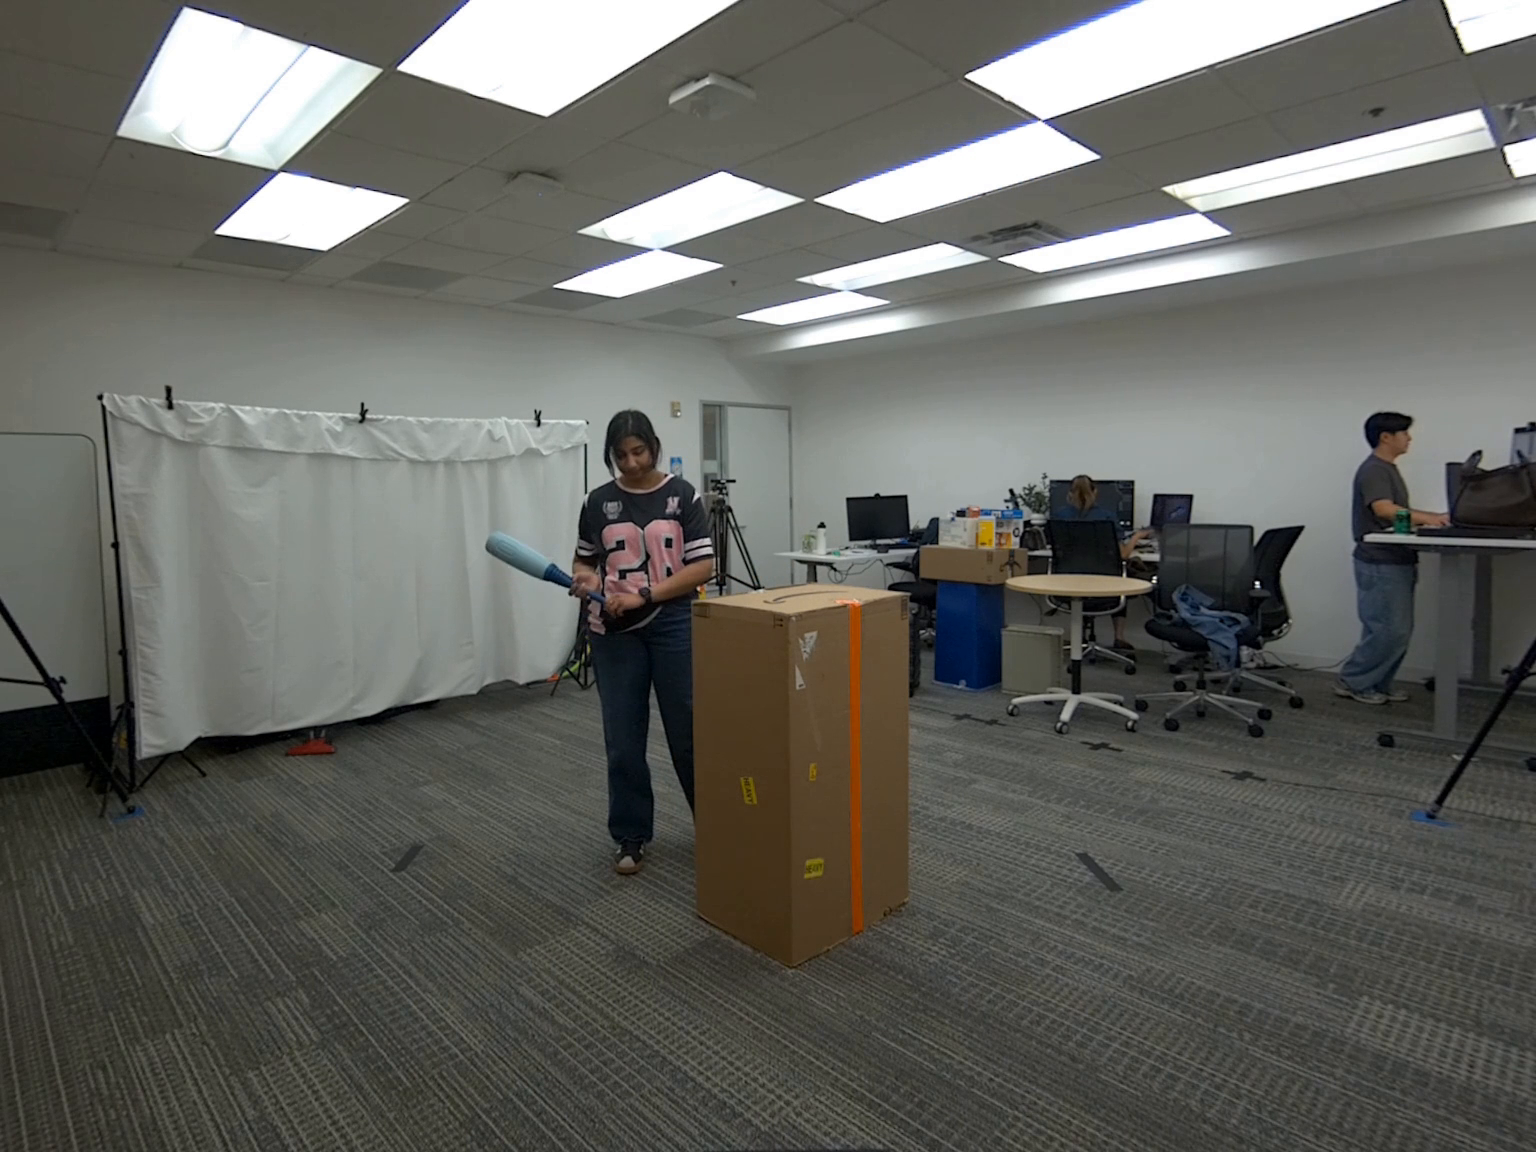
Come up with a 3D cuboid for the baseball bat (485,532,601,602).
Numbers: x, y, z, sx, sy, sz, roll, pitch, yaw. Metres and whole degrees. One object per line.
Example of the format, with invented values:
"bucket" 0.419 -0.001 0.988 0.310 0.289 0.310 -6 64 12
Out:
"baseball bat" -0.743 0.006 2.991 0.550 0.089 0.088 26 9 10
